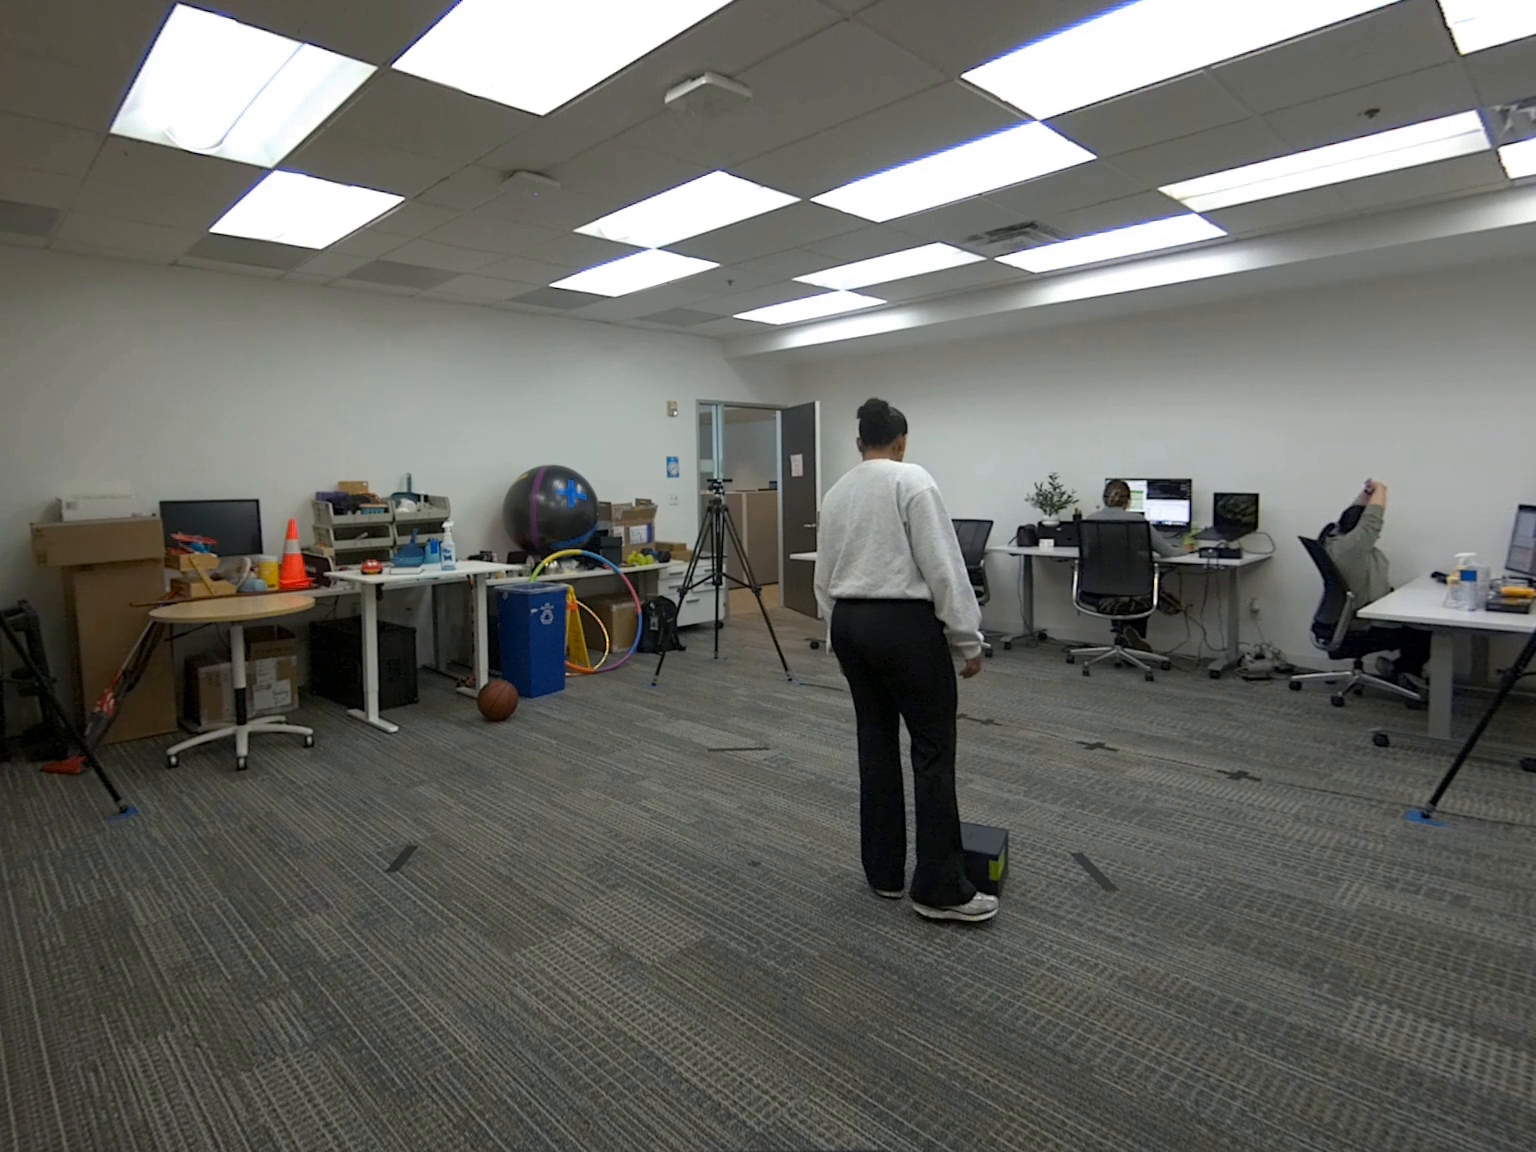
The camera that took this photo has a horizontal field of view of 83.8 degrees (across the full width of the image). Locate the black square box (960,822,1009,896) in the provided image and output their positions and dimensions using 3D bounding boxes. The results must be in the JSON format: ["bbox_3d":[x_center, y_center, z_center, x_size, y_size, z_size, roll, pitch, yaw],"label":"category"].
[{"bbox_3d":[0.703,0.969,2.942,0.222,0.155,0.223,2,6,25],"label":"black square box"}]
